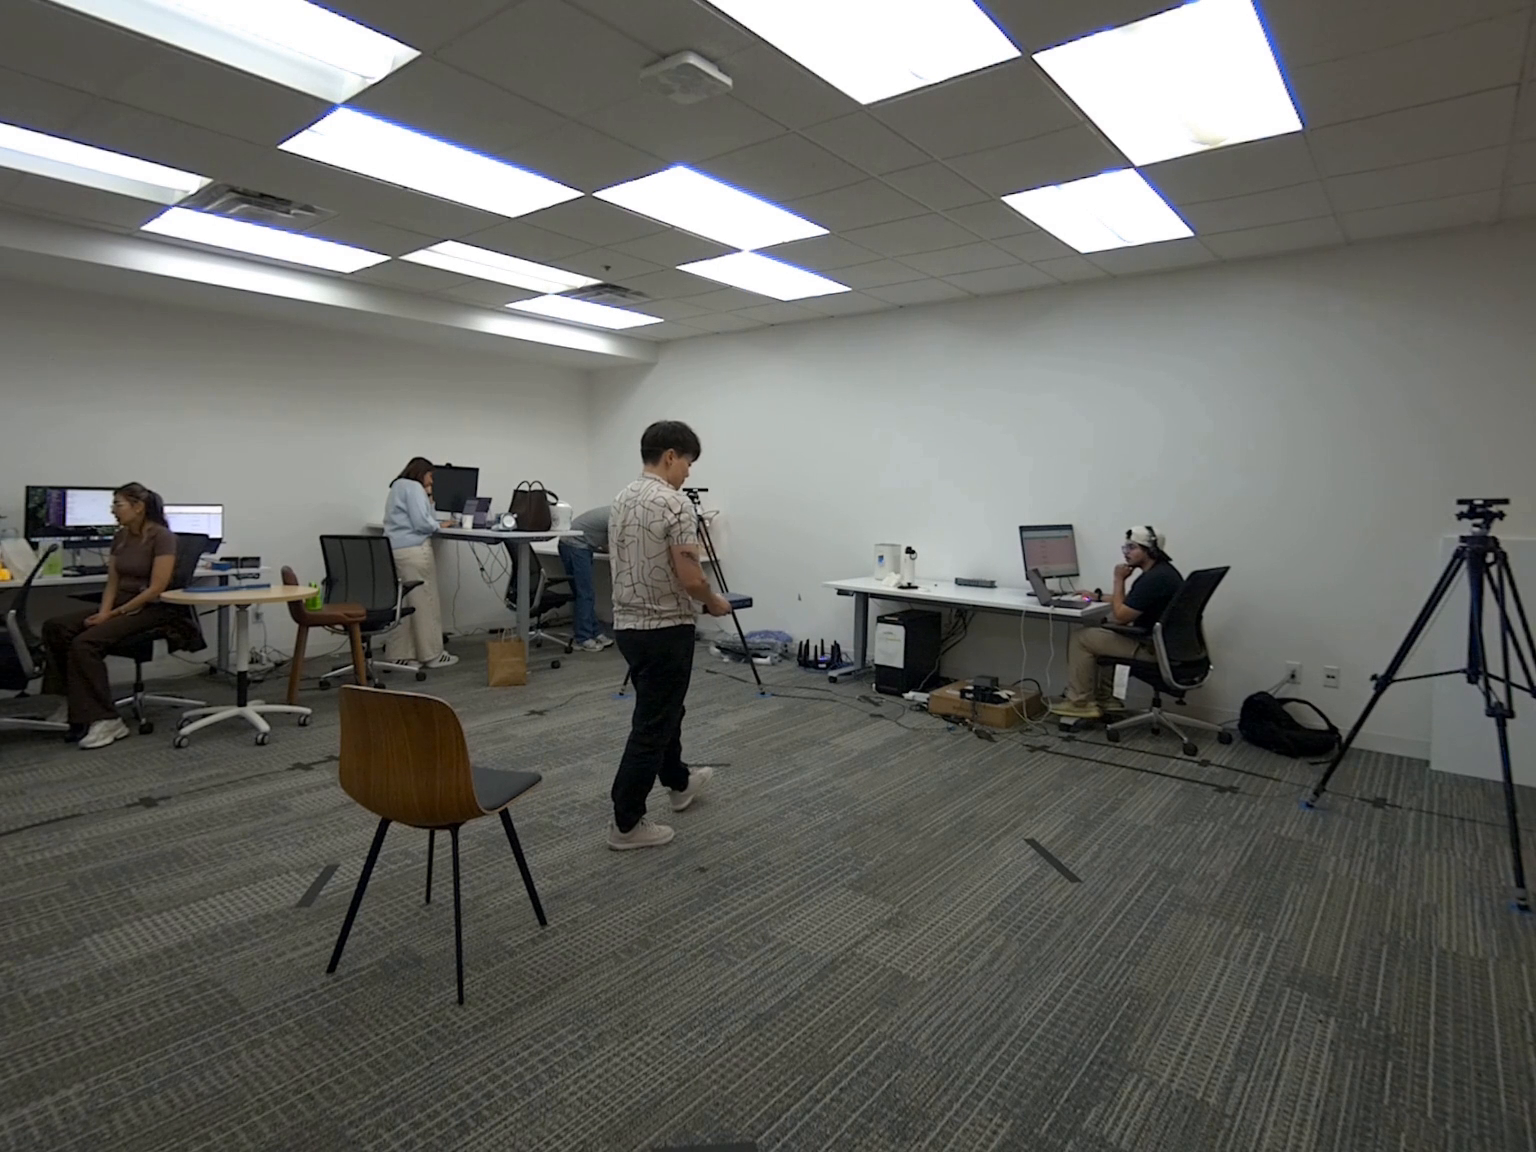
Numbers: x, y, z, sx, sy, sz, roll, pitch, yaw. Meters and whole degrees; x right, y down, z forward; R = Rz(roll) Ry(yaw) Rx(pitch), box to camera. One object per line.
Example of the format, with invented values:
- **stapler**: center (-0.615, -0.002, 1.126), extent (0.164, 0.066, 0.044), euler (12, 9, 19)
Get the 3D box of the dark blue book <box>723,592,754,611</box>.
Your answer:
- **dark blue book**: center (-0.206, 0.108, 3.503), extent (0.240, 0.045, 0.168), euler (-7, 11, -24)
